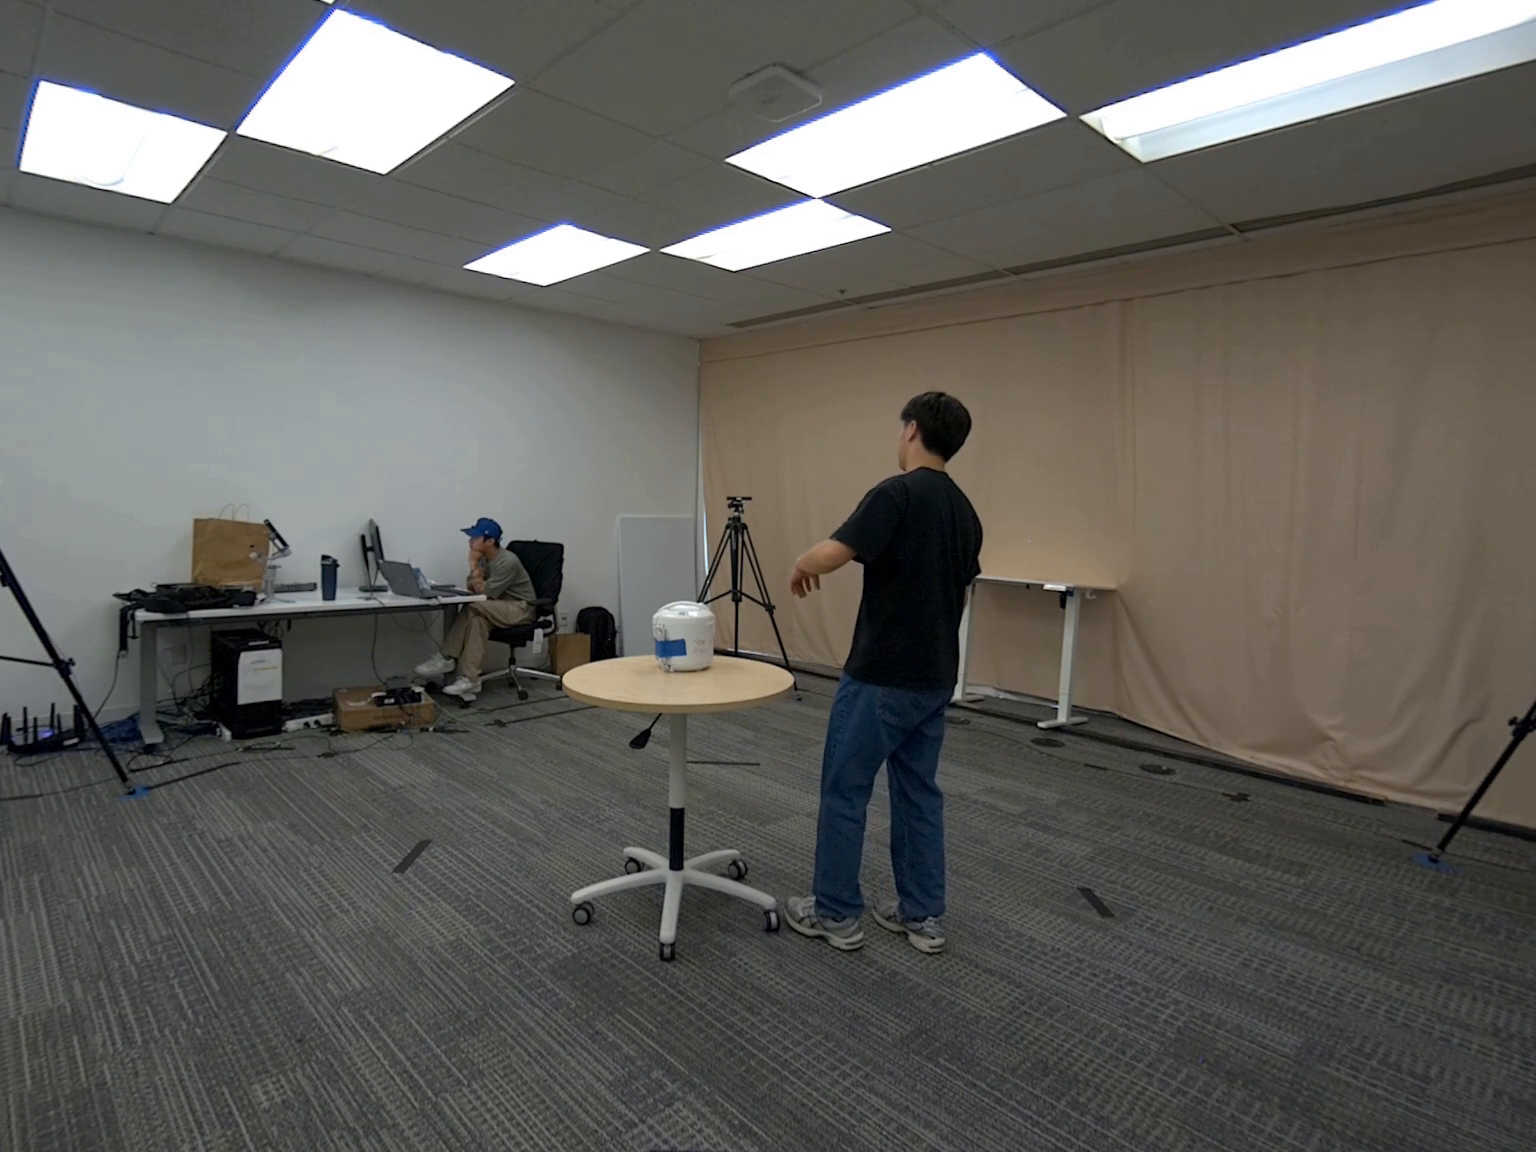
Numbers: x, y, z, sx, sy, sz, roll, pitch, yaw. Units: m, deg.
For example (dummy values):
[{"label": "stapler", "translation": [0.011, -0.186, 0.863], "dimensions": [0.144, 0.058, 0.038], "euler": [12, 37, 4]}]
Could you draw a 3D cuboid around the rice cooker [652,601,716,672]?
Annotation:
[{"label": "rice cooker", "translation": [-0.298, 0.203, 2.953], "dimensions": [0.219, 0.232, 0.220], "euler": [1, 4, -10]}]
